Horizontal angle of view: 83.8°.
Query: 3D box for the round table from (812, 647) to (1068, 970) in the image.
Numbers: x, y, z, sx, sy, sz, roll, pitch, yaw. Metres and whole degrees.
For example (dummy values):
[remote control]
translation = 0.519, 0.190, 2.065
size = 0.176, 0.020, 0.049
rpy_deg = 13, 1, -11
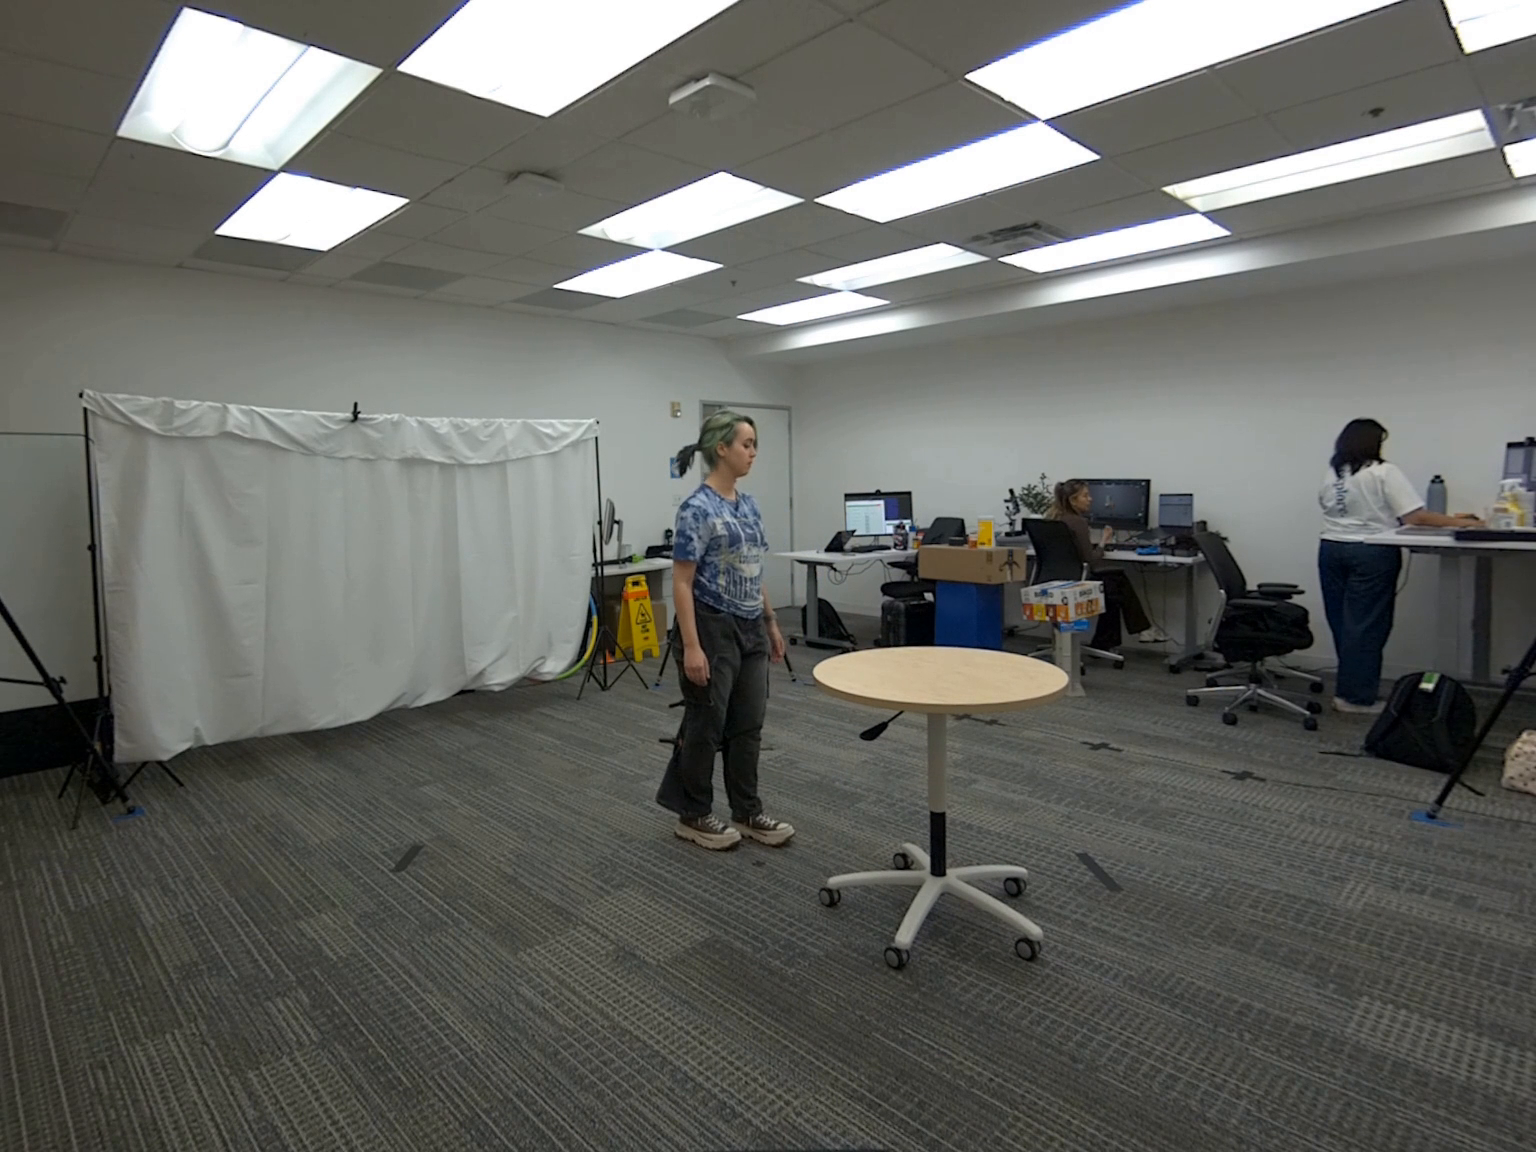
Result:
[round table]
translation = 0.541, 0.696, 2.681
size = 0.763, 0.791, 0.768
rpy_deg = -1, 5, -2
